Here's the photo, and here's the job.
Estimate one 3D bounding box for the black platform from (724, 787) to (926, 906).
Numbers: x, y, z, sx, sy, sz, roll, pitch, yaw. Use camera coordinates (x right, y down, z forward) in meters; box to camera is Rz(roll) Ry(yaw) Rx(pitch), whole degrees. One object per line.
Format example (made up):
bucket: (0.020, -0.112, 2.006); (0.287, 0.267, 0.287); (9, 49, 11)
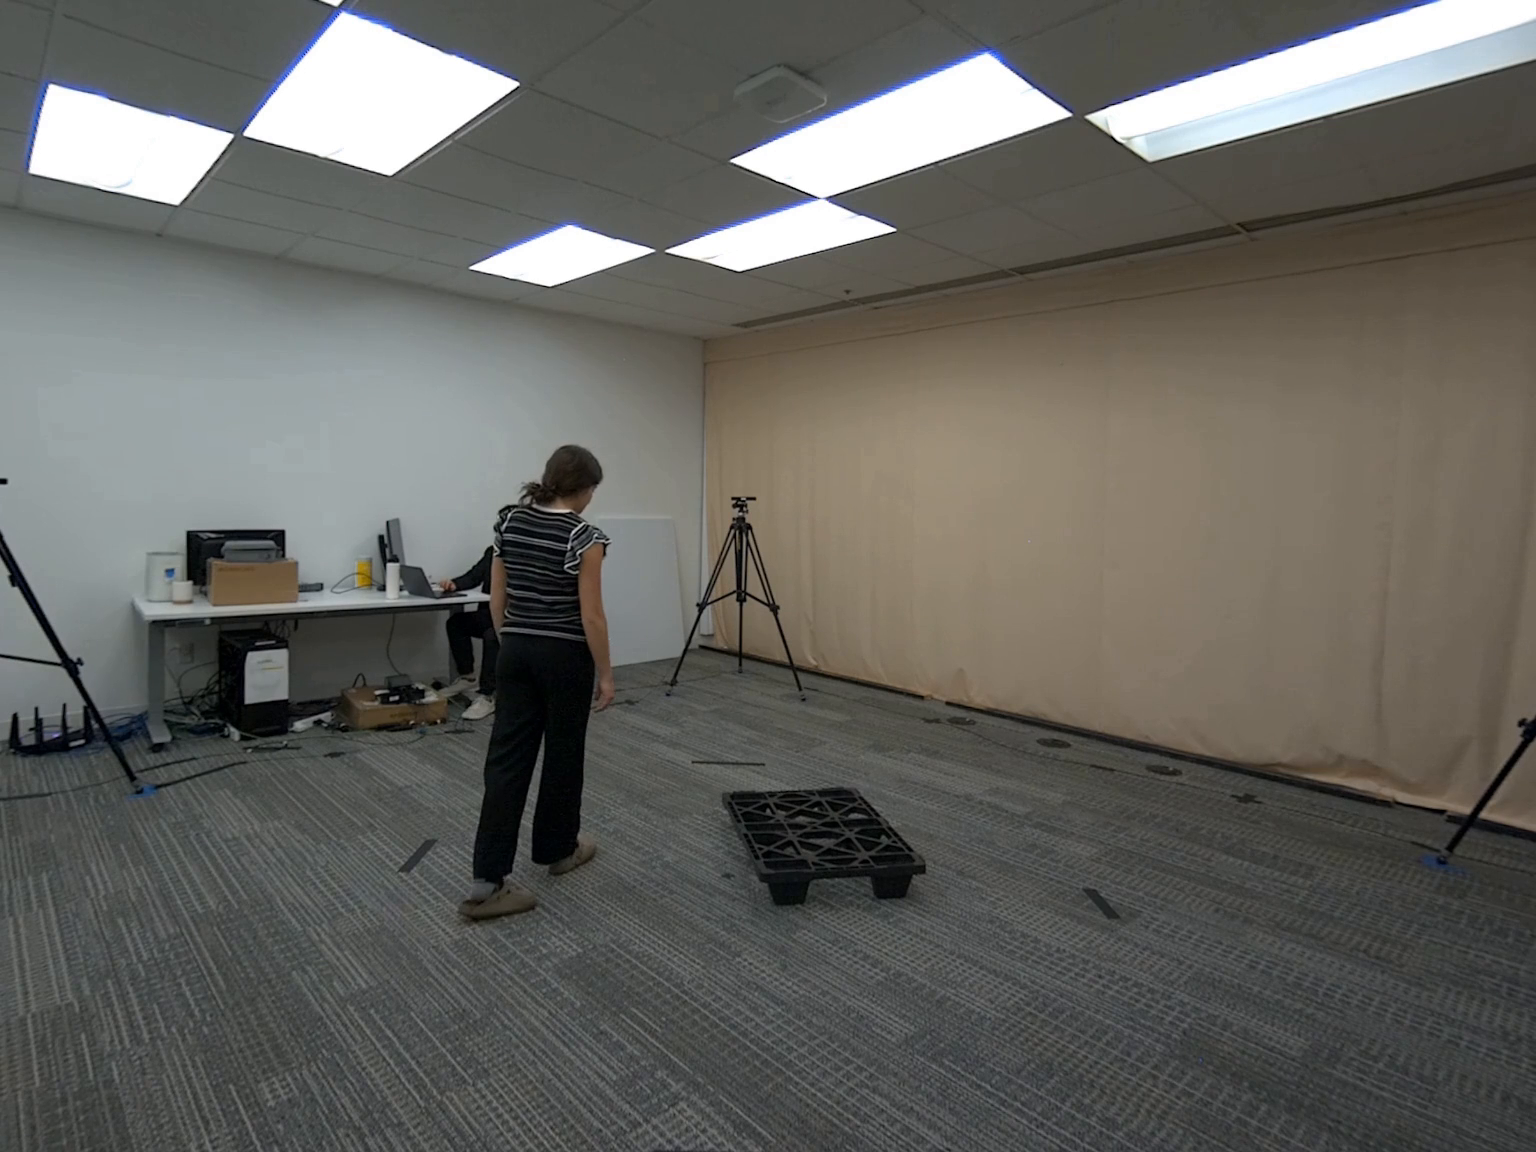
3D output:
black platform: (0.171, 1.031, 3.276); (0.599, 0.143, 0.815); (1, 5, -12)
